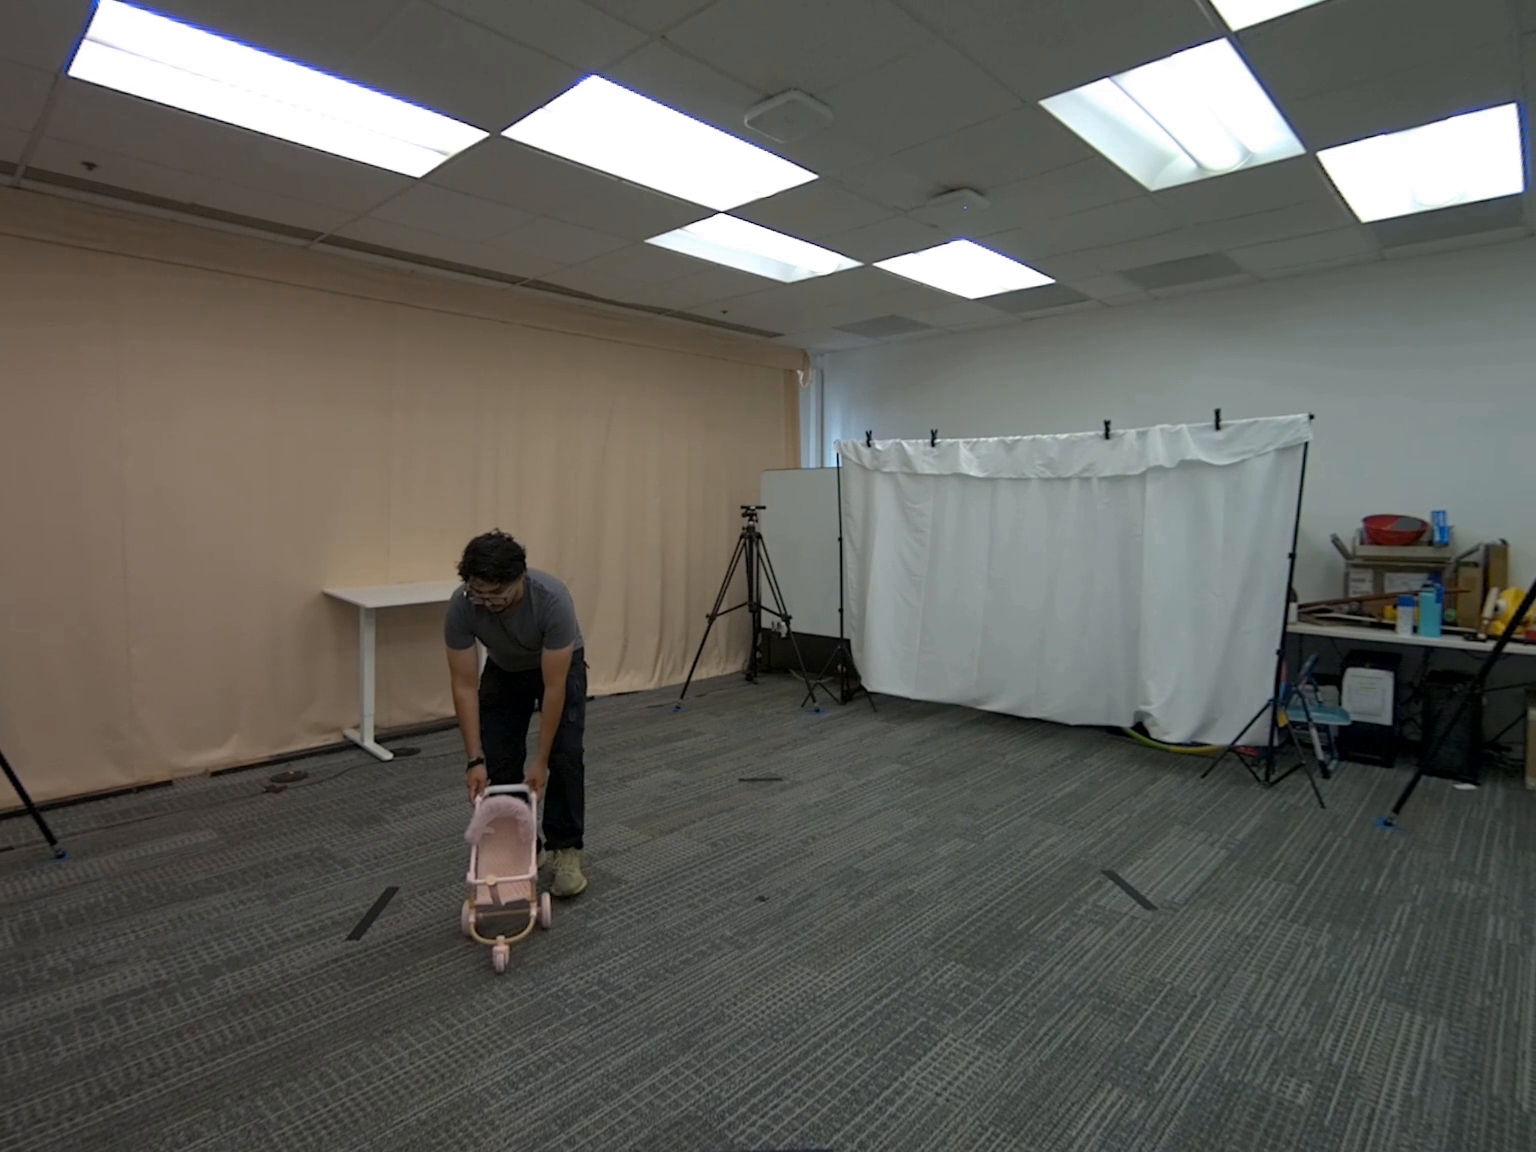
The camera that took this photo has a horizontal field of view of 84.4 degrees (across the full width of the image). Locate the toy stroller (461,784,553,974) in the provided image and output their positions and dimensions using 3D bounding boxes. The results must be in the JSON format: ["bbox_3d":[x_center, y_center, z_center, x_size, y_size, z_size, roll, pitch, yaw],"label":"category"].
[{"bbox_3d":[-0.847,0.946,2.702,0.279,0.540,0.341,-2,-12,-9],"label":"toy stroller"}]
